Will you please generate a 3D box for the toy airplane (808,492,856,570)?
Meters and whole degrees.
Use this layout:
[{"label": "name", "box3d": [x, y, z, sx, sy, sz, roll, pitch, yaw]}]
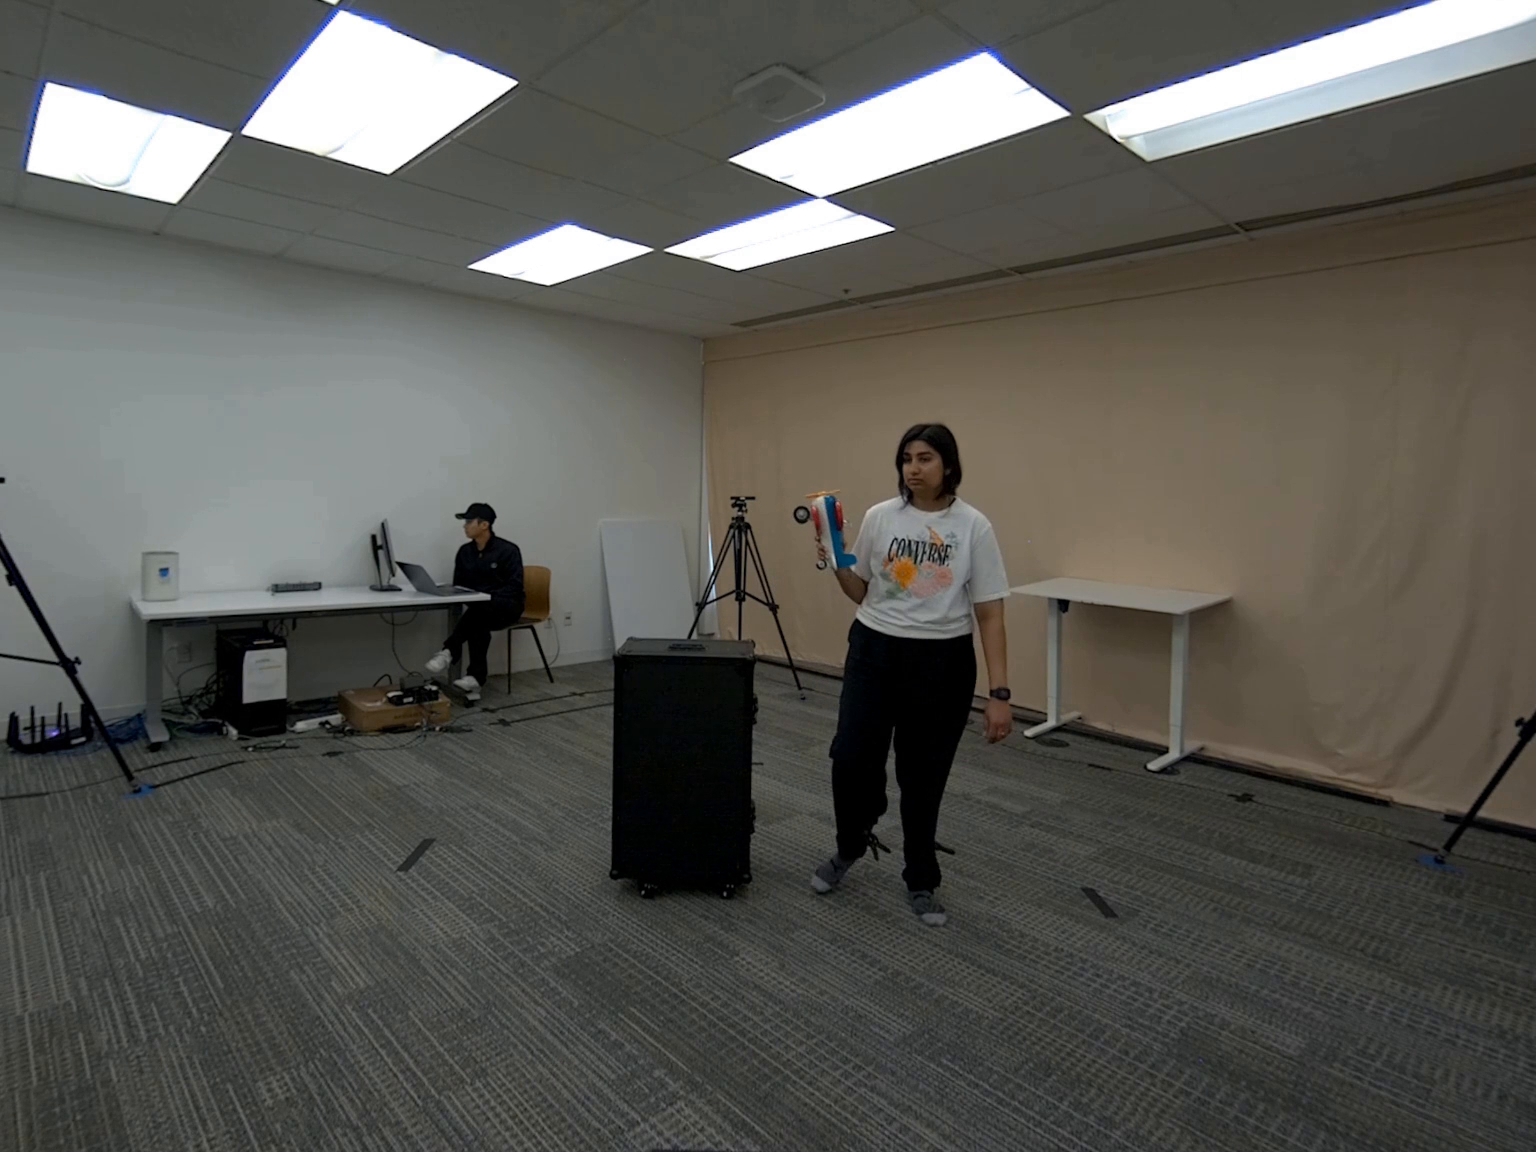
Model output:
[{"label": "toy airplane", "box3d": [0.181, -0.149, 2.781, 0.156, 0.253, 0.256, -25, 24, 3]}]
